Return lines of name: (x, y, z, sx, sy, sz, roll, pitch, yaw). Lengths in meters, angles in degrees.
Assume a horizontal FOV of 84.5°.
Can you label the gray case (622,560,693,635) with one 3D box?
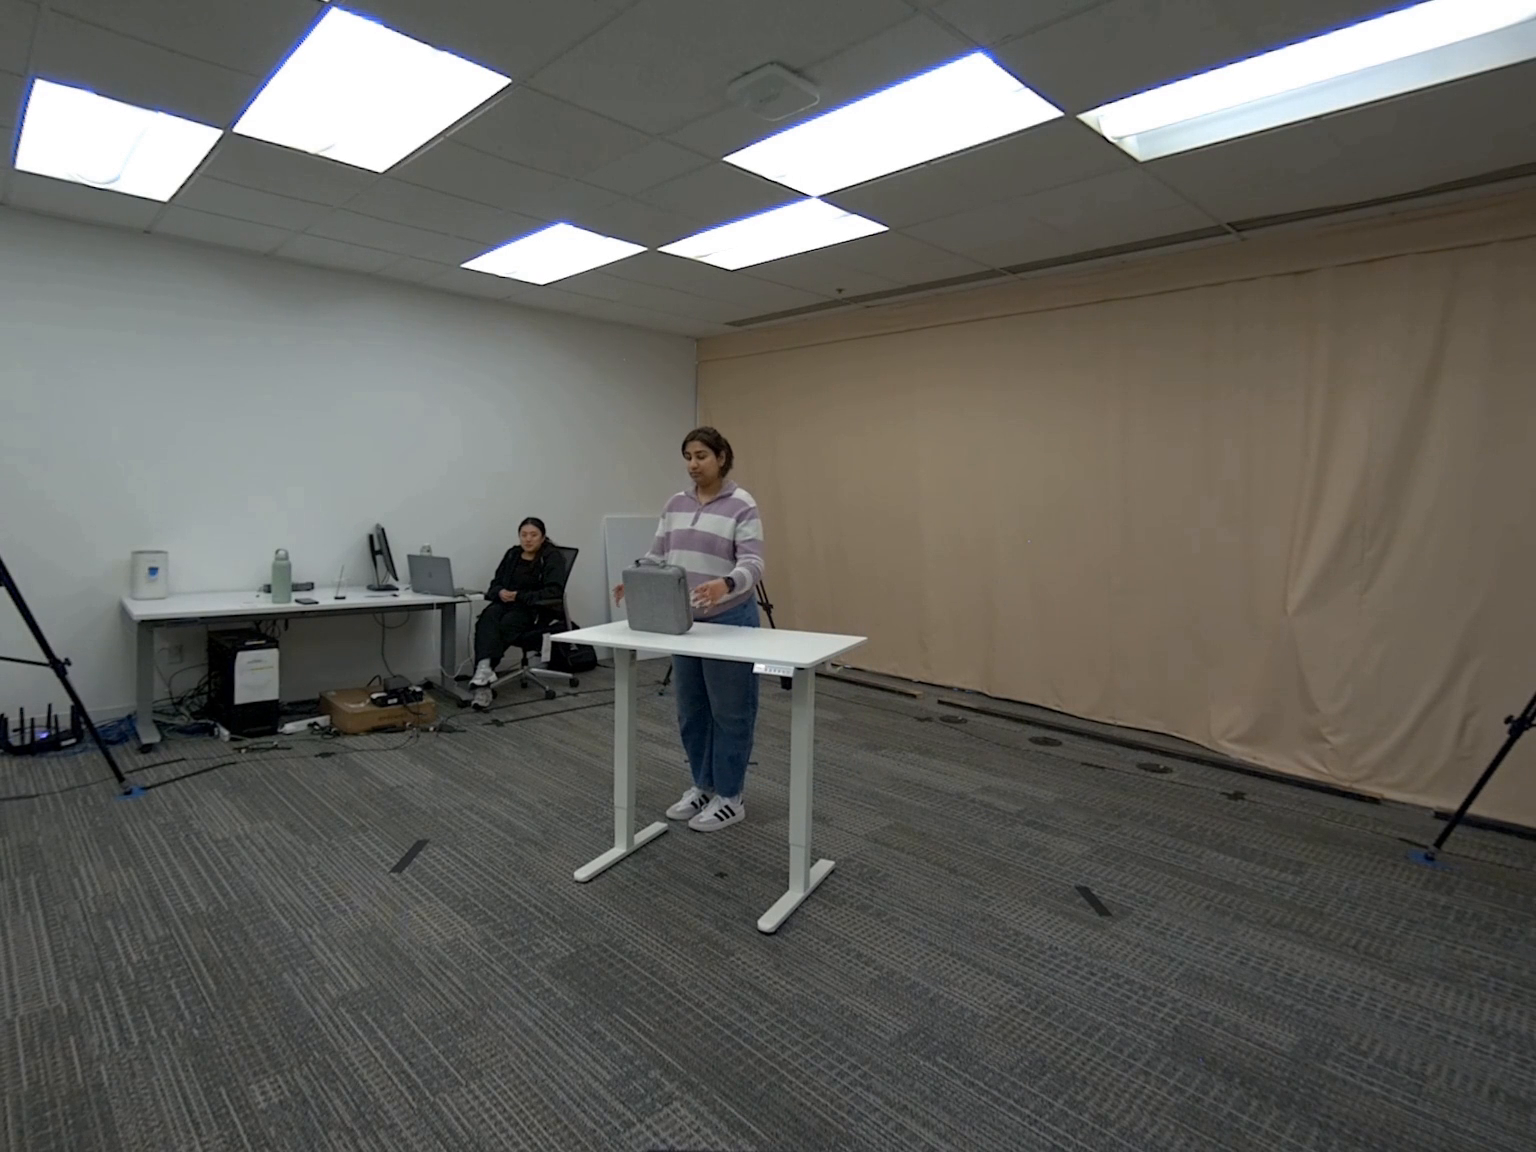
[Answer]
gray case: (-0.437, 0.080, 3.152, 0.263, 0.258, 0.103, 2, 15, 33)
